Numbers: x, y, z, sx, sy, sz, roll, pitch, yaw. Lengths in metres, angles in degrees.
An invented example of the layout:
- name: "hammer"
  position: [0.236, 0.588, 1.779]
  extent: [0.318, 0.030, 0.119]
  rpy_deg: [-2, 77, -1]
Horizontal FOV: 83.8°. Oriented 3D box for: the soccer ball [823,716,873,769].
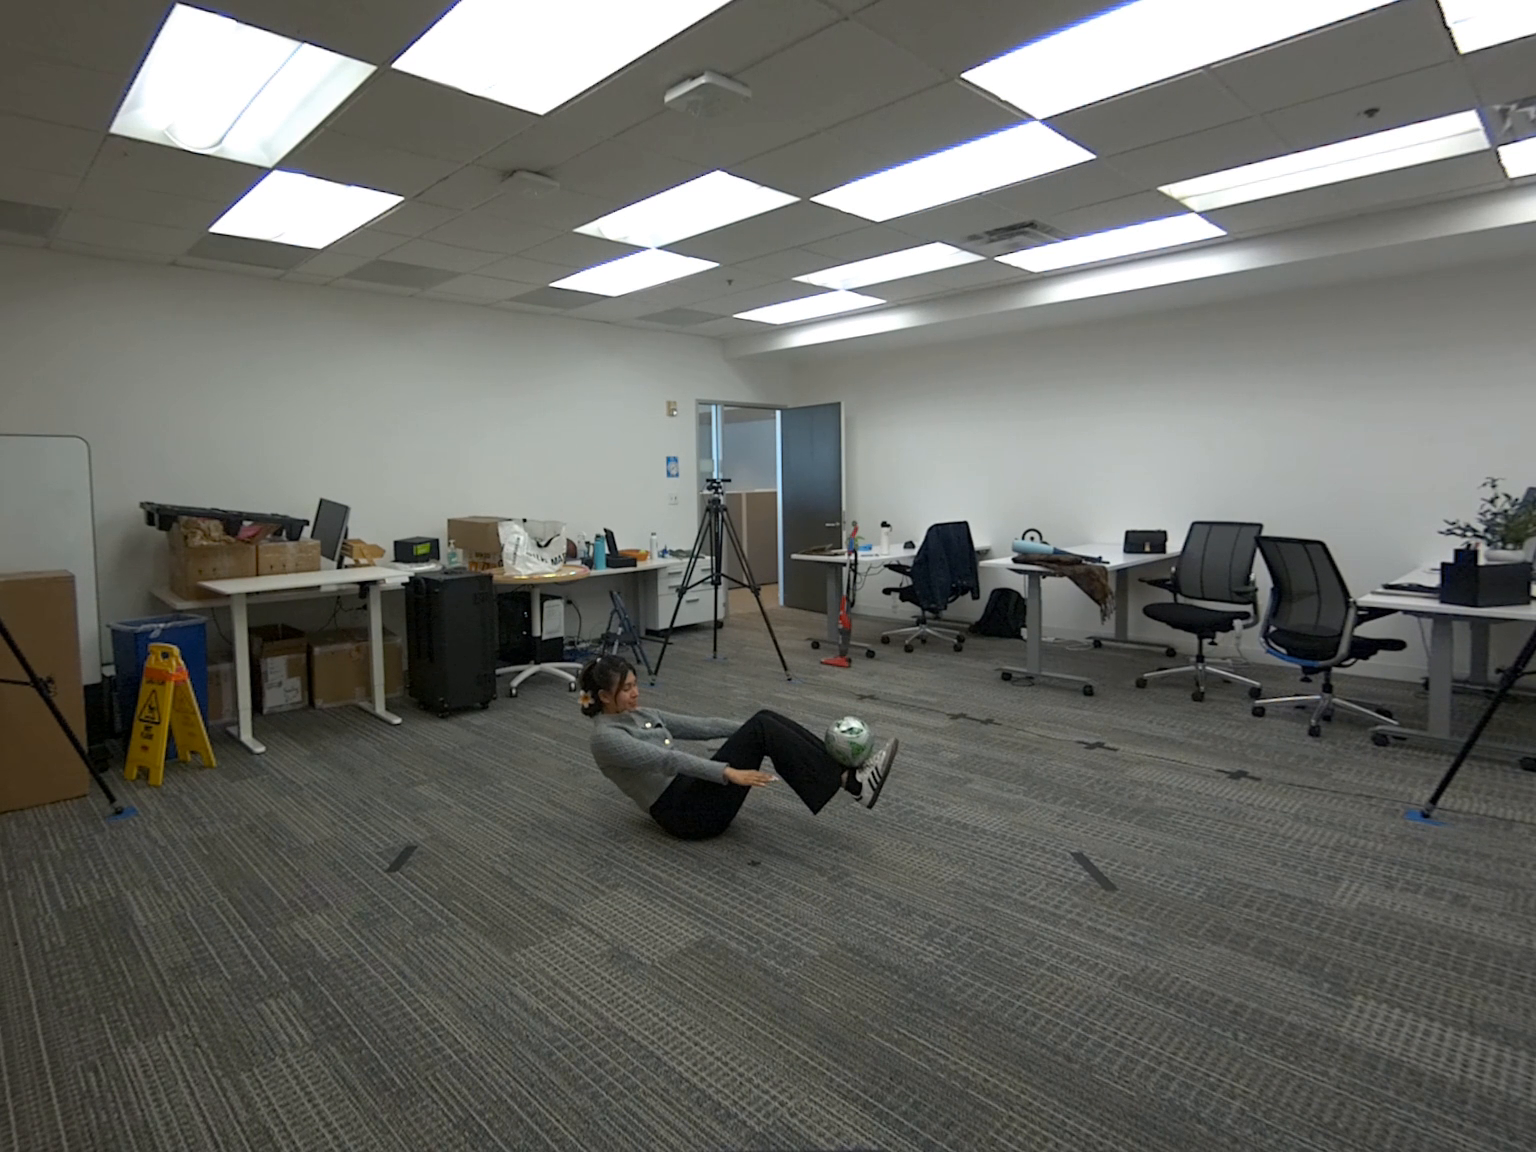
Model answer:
- name: "soccer ball"
  position: [0.311, 0.628, 3.240]
  extent: [0.187, 0.187, 0.188]
  rpy_deg: [-1, 5, -2]
